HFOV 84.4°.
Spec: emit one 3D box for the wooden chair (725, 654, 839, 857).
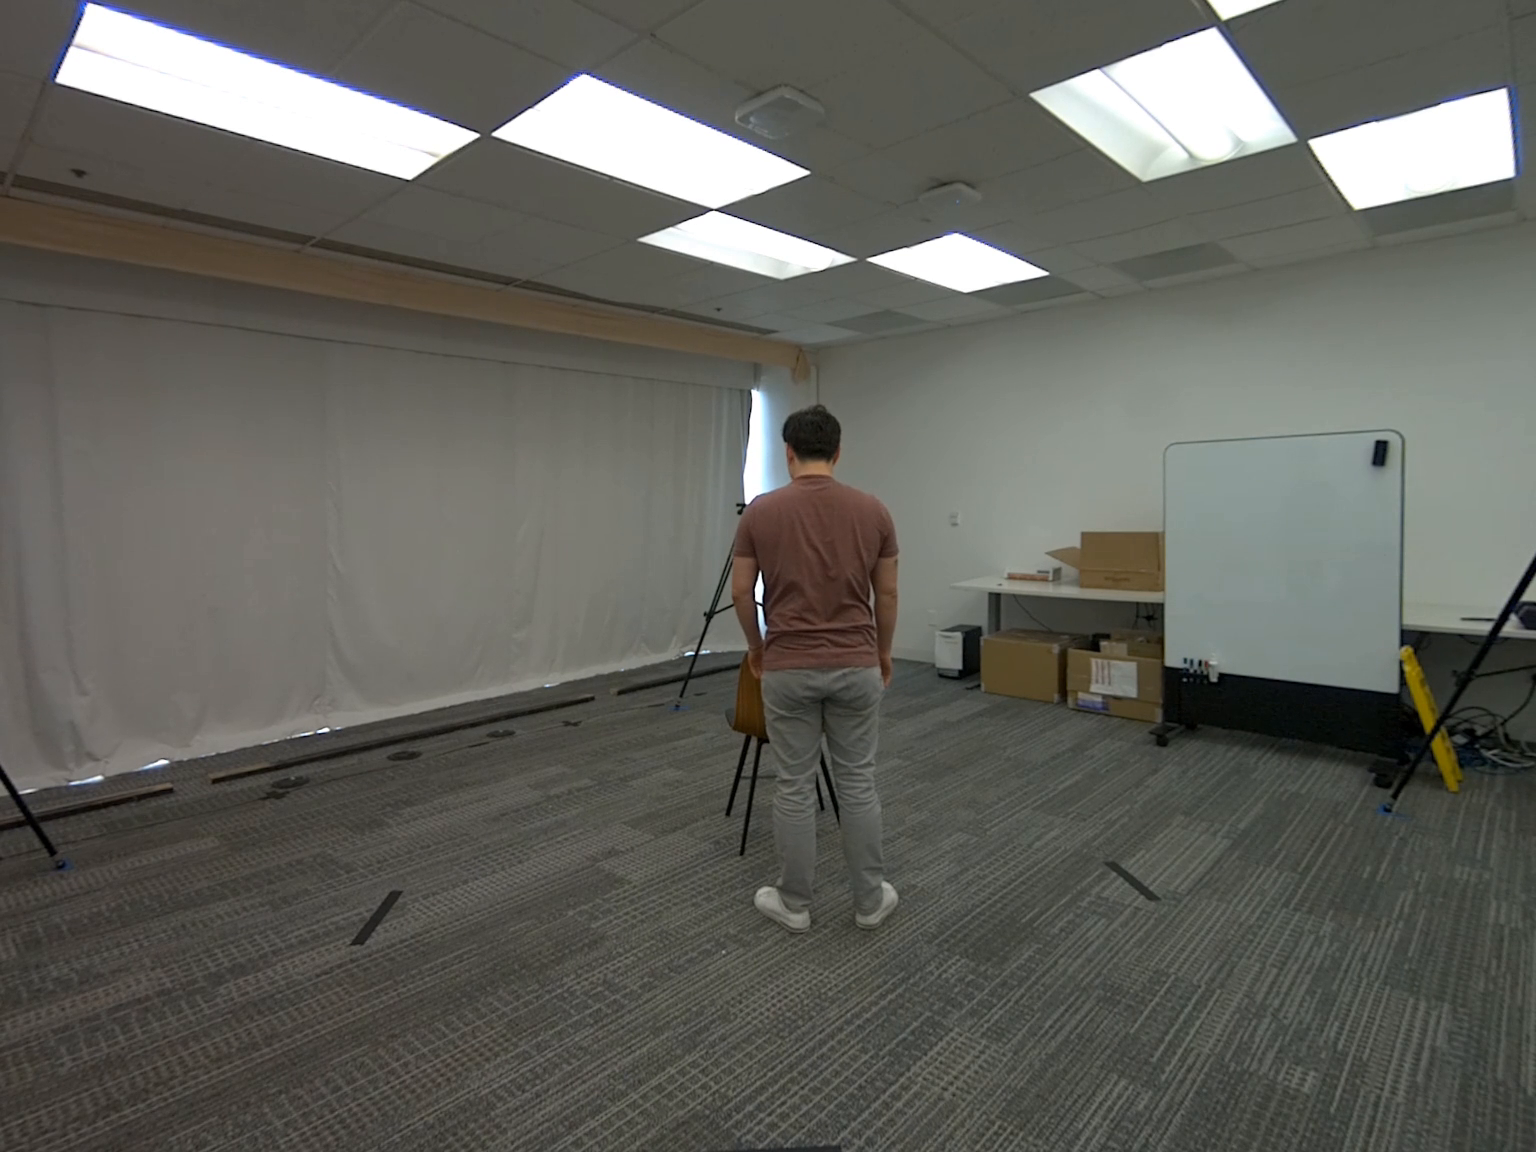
[{"bbox_3d":[0.060,0.655,3.548,0.474,0.873,0.530,-2,8,-8],"label":"wooden chair"}]
